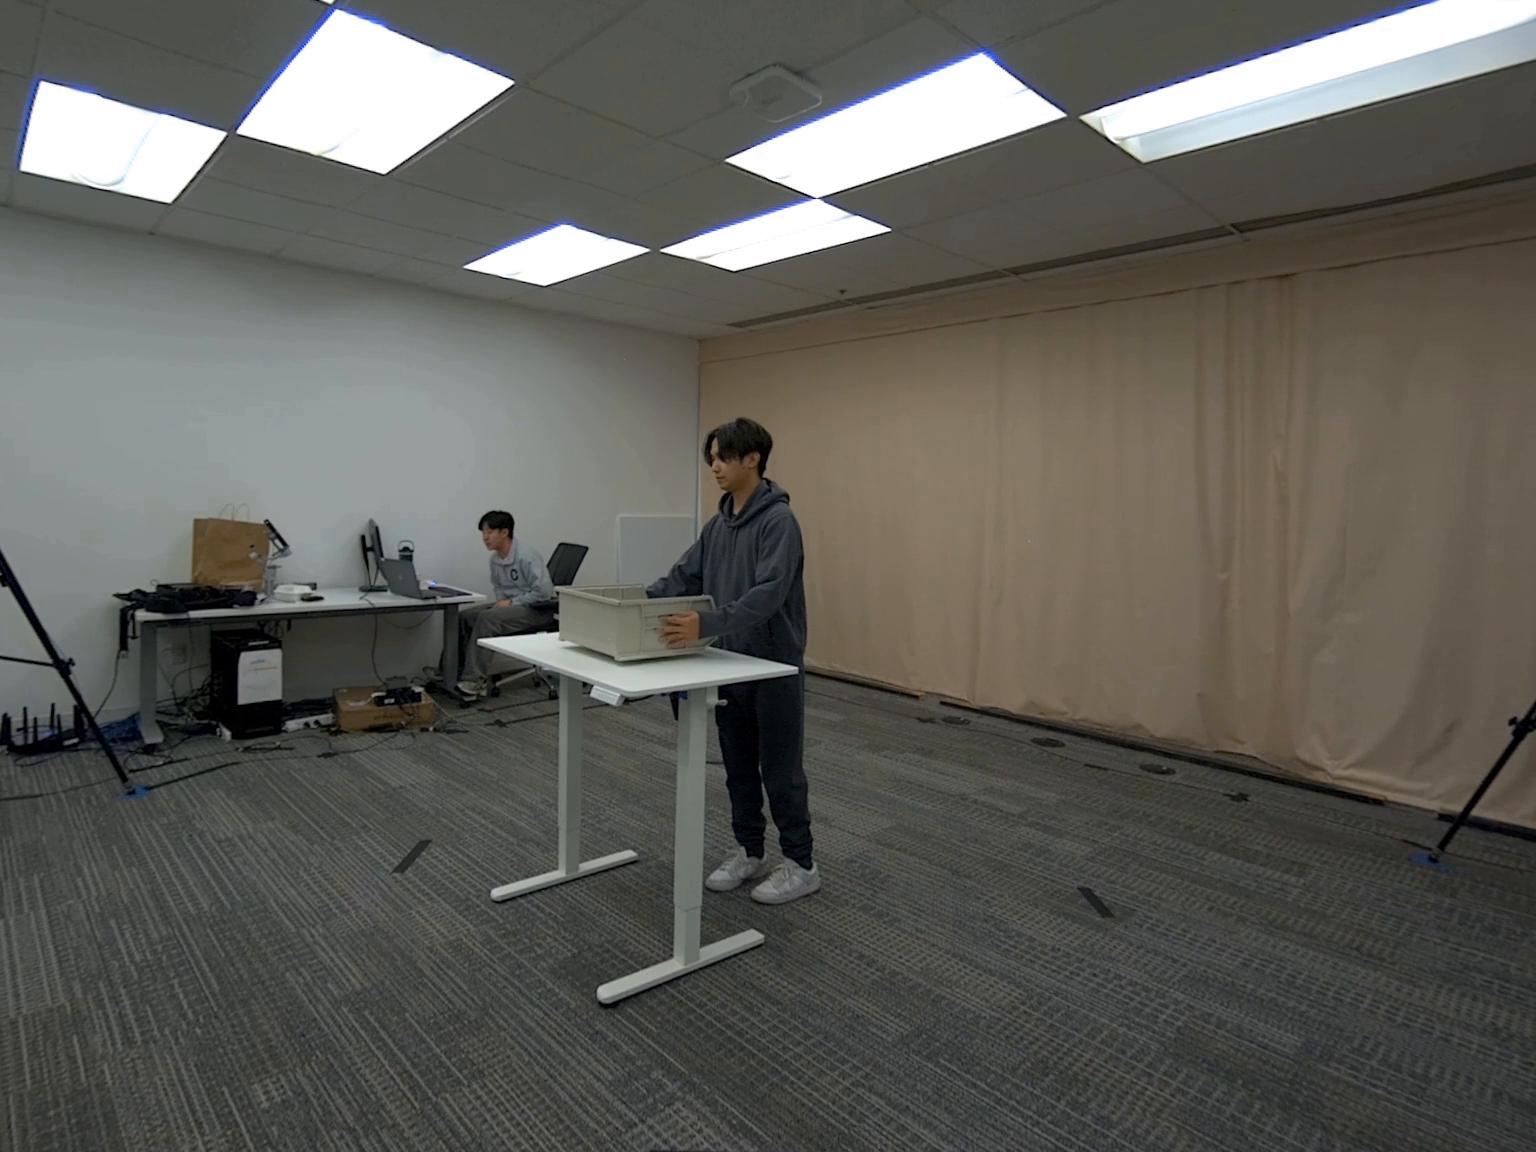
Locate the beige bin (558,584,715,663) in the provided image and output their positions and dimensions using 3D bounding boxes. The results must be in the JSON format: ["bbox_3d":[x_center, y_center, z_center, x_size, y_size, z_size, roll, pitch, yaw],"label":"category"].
[{"bbox_3d":[-0.448,0.145,2.734,0.369,0.188,0.433,-3,8,-38],"label":"beige bin"}]
